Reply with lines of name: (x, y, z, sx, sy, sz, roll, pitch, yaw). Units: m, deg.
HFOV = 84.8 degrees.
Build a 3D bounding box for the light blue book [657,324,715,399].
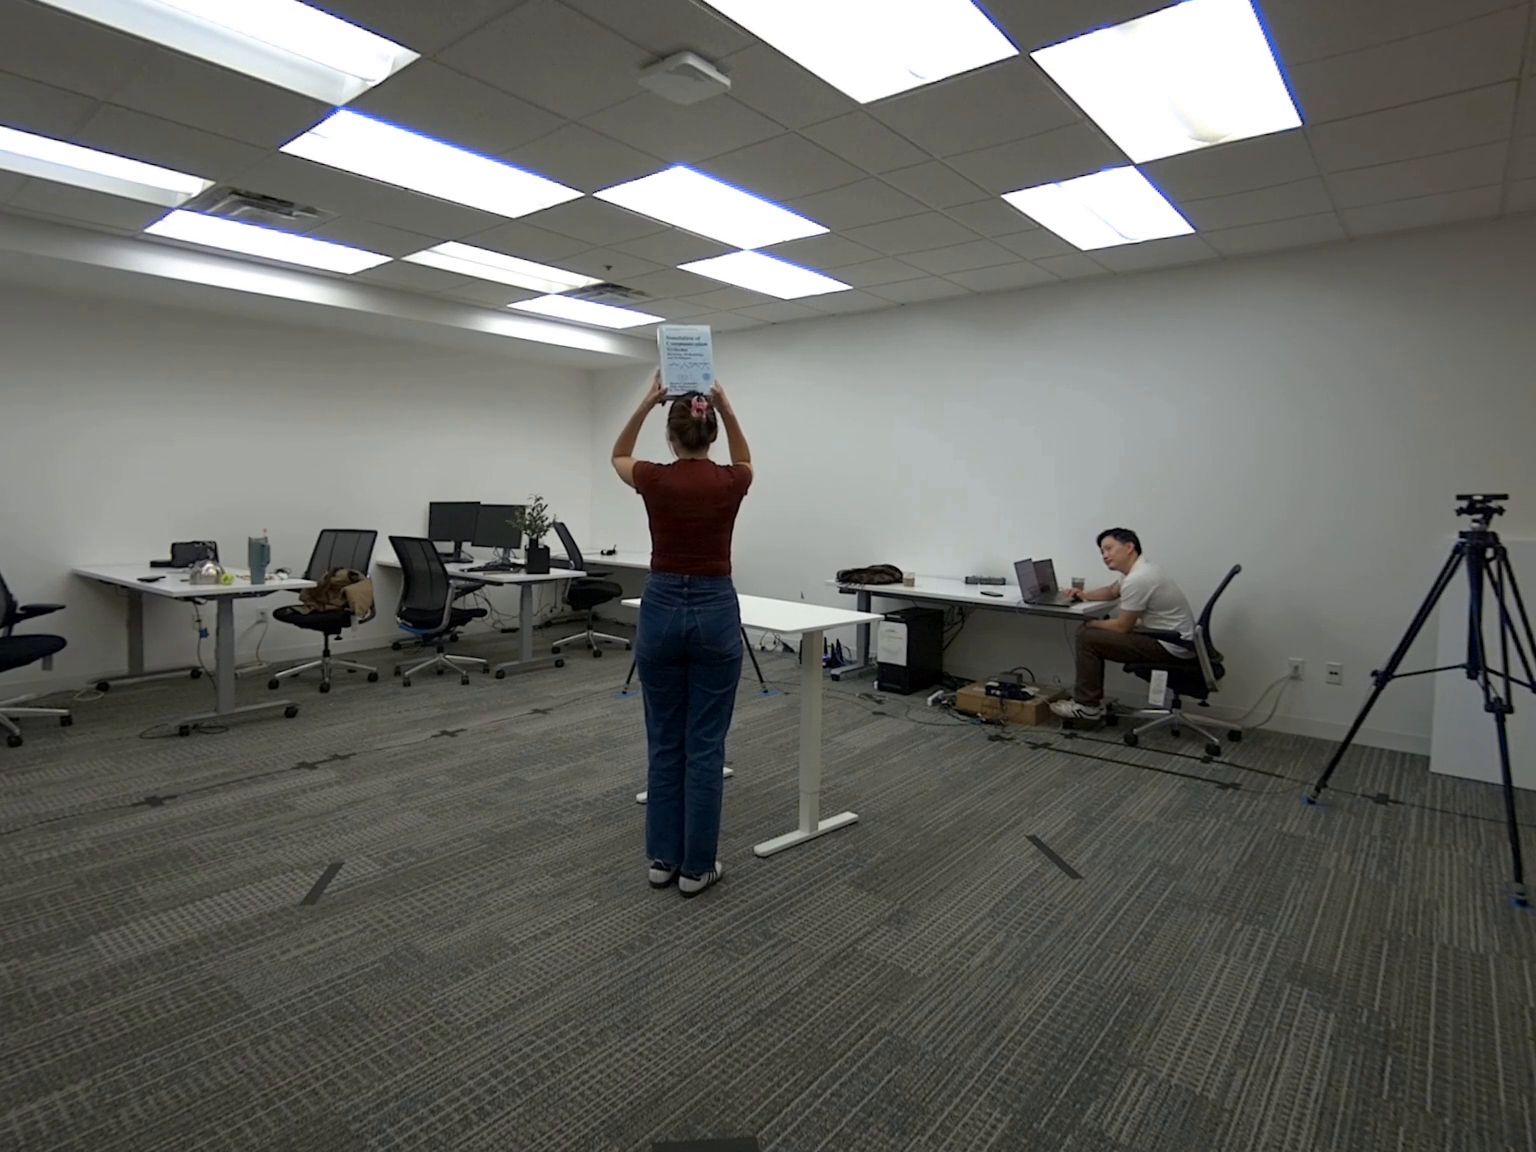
light blue book: (-0.296, -0.757, 3.016, 0.189, 0.264, 0.059, -2, -11, -11)
